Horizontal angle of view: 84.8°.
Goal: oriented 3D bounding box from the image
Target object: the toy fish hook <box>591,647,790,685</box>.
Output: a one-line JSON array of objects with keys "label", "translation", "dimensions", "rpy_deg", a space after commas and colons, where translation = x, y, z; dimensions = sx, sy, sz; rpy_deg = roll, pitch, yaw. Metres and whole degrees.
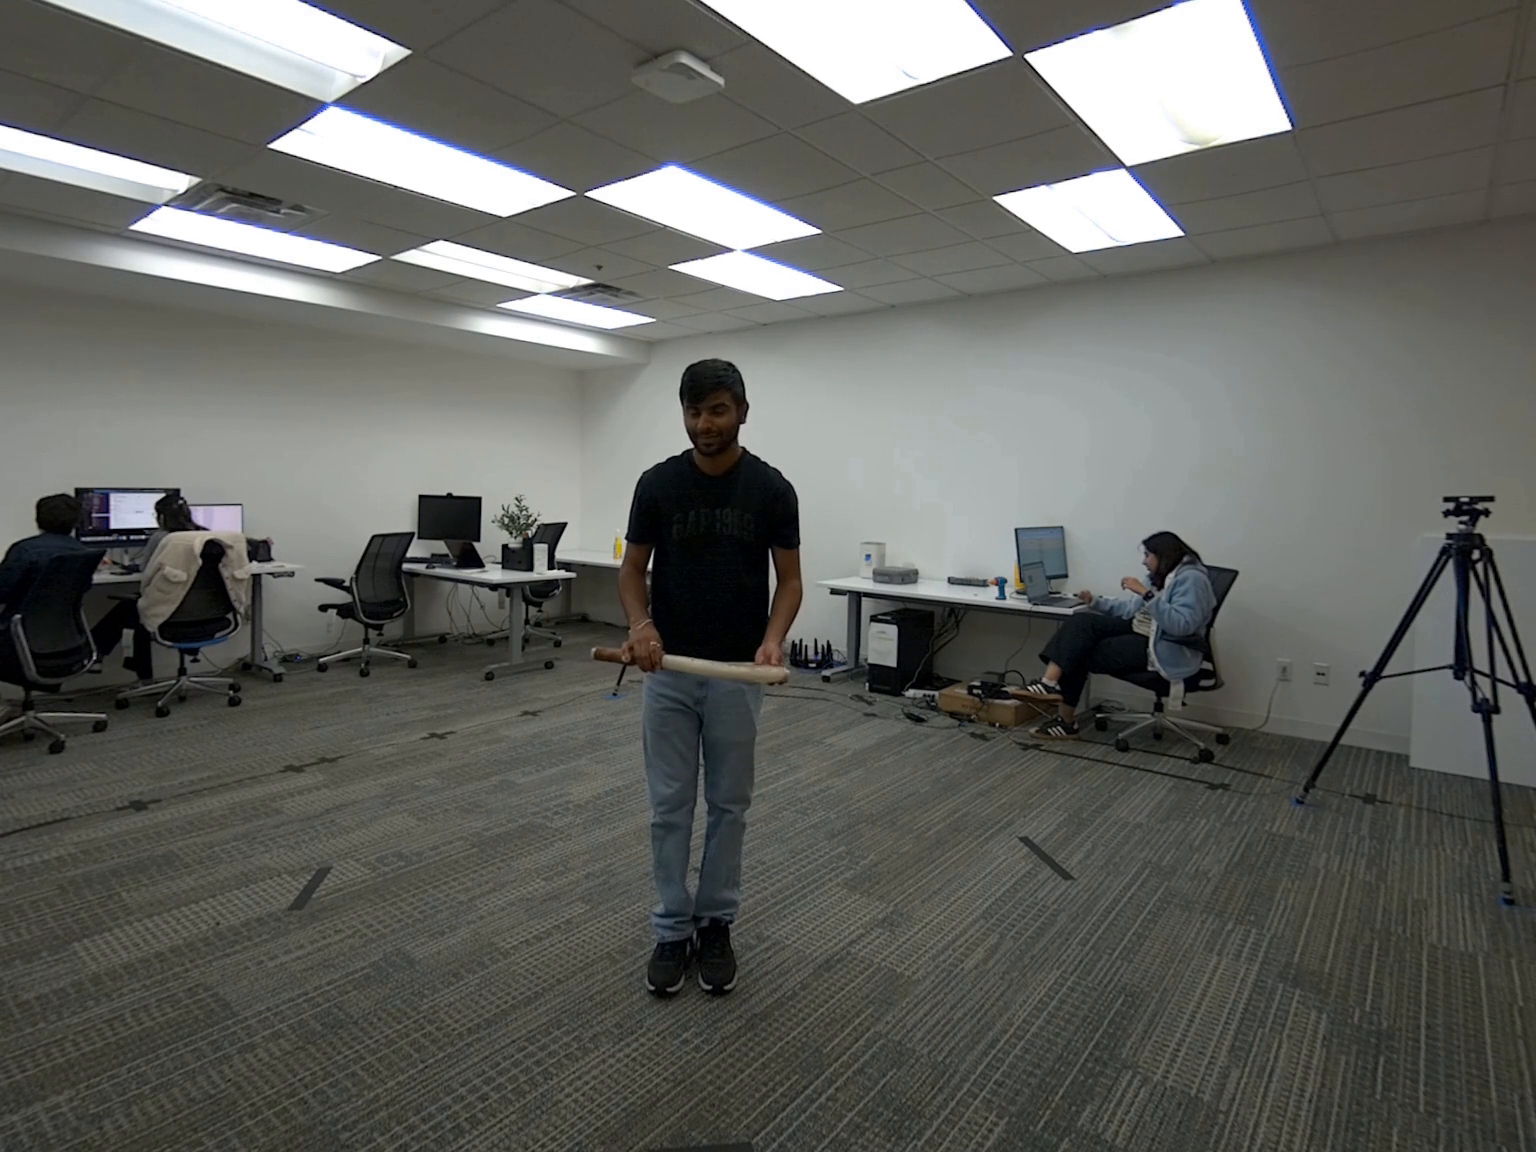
[{"label": "toy fish hook", "translation": [-0.216, 0.225, 2.188], "dimensions": [0.514, 0.048, 0.220], "rpy_deg": [7, -6, 12]}]
